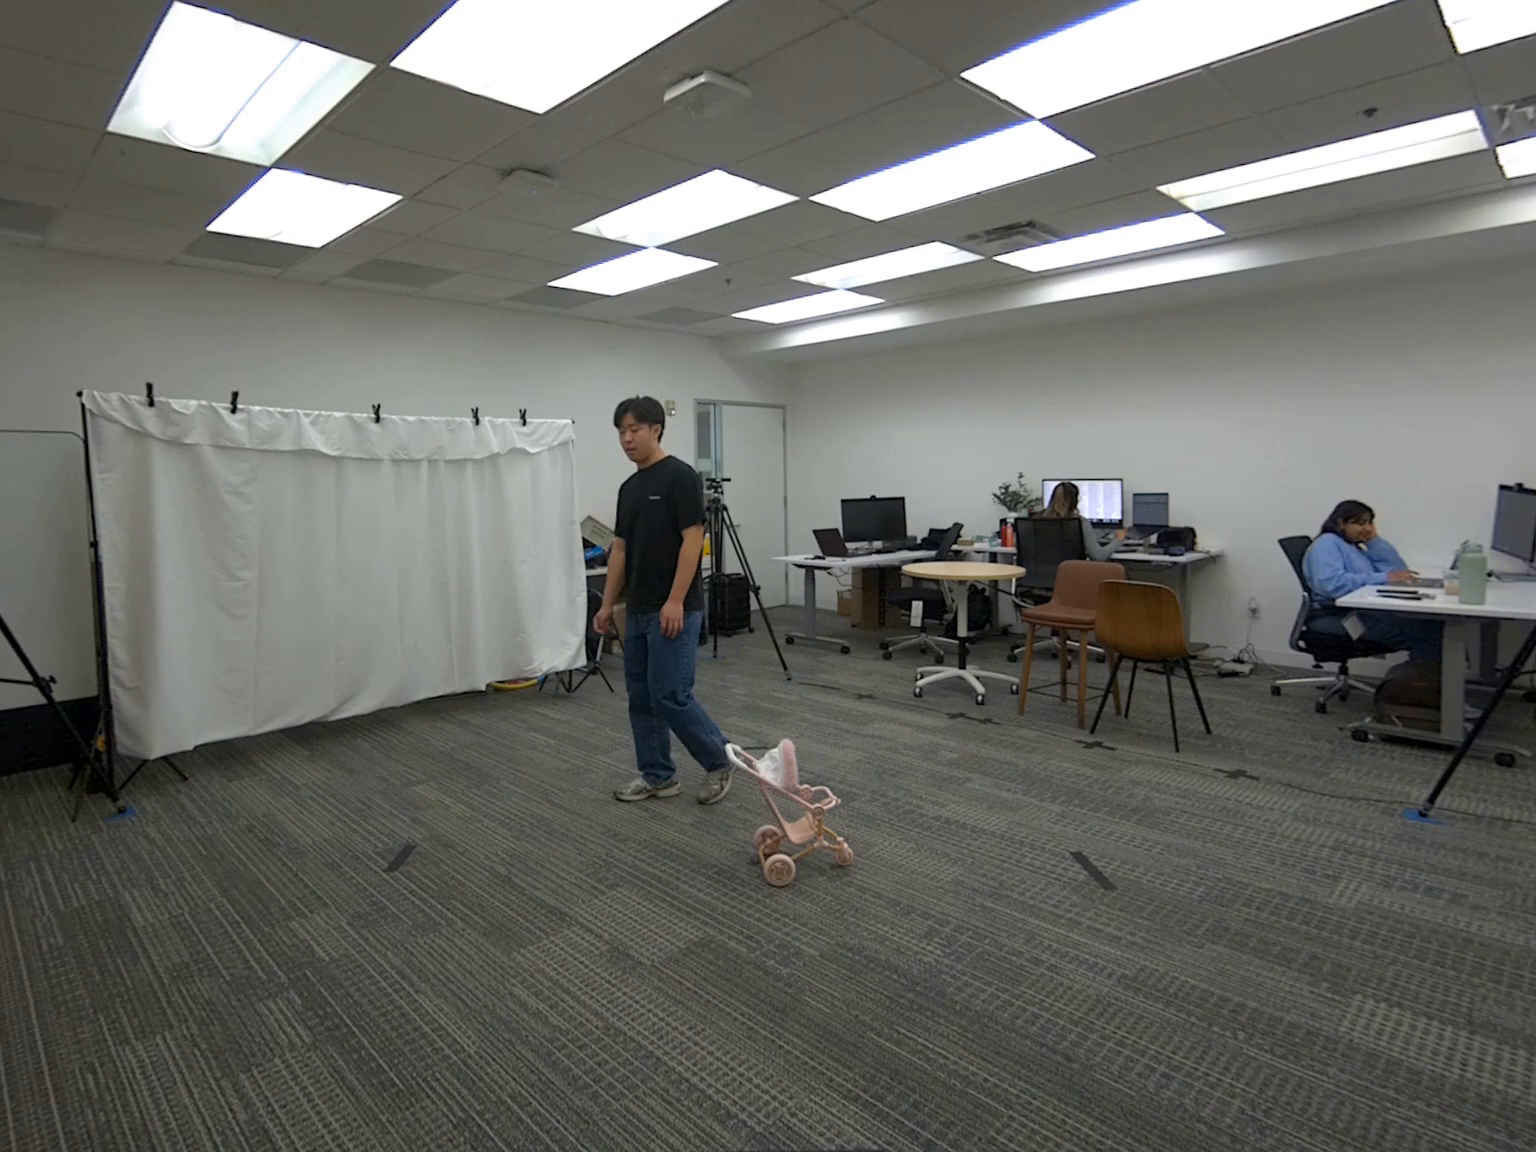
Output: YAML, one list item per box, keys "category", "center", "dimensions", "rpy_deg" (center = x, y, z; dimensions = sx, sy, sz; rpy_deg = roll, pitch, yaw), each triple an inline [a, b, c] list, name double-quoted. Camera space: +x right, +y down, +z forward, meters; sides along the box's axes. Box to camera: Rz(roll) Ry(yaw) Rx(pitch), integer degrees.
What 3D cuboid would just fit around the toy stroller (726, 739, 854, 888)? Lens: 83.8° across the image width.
- category: "toy stroller"
  center: [0.090, 0.820, 3.041]
  dimensions: [0.341, 0.532, 0.283]
  rpy_deg: [-16, 5, -2]
